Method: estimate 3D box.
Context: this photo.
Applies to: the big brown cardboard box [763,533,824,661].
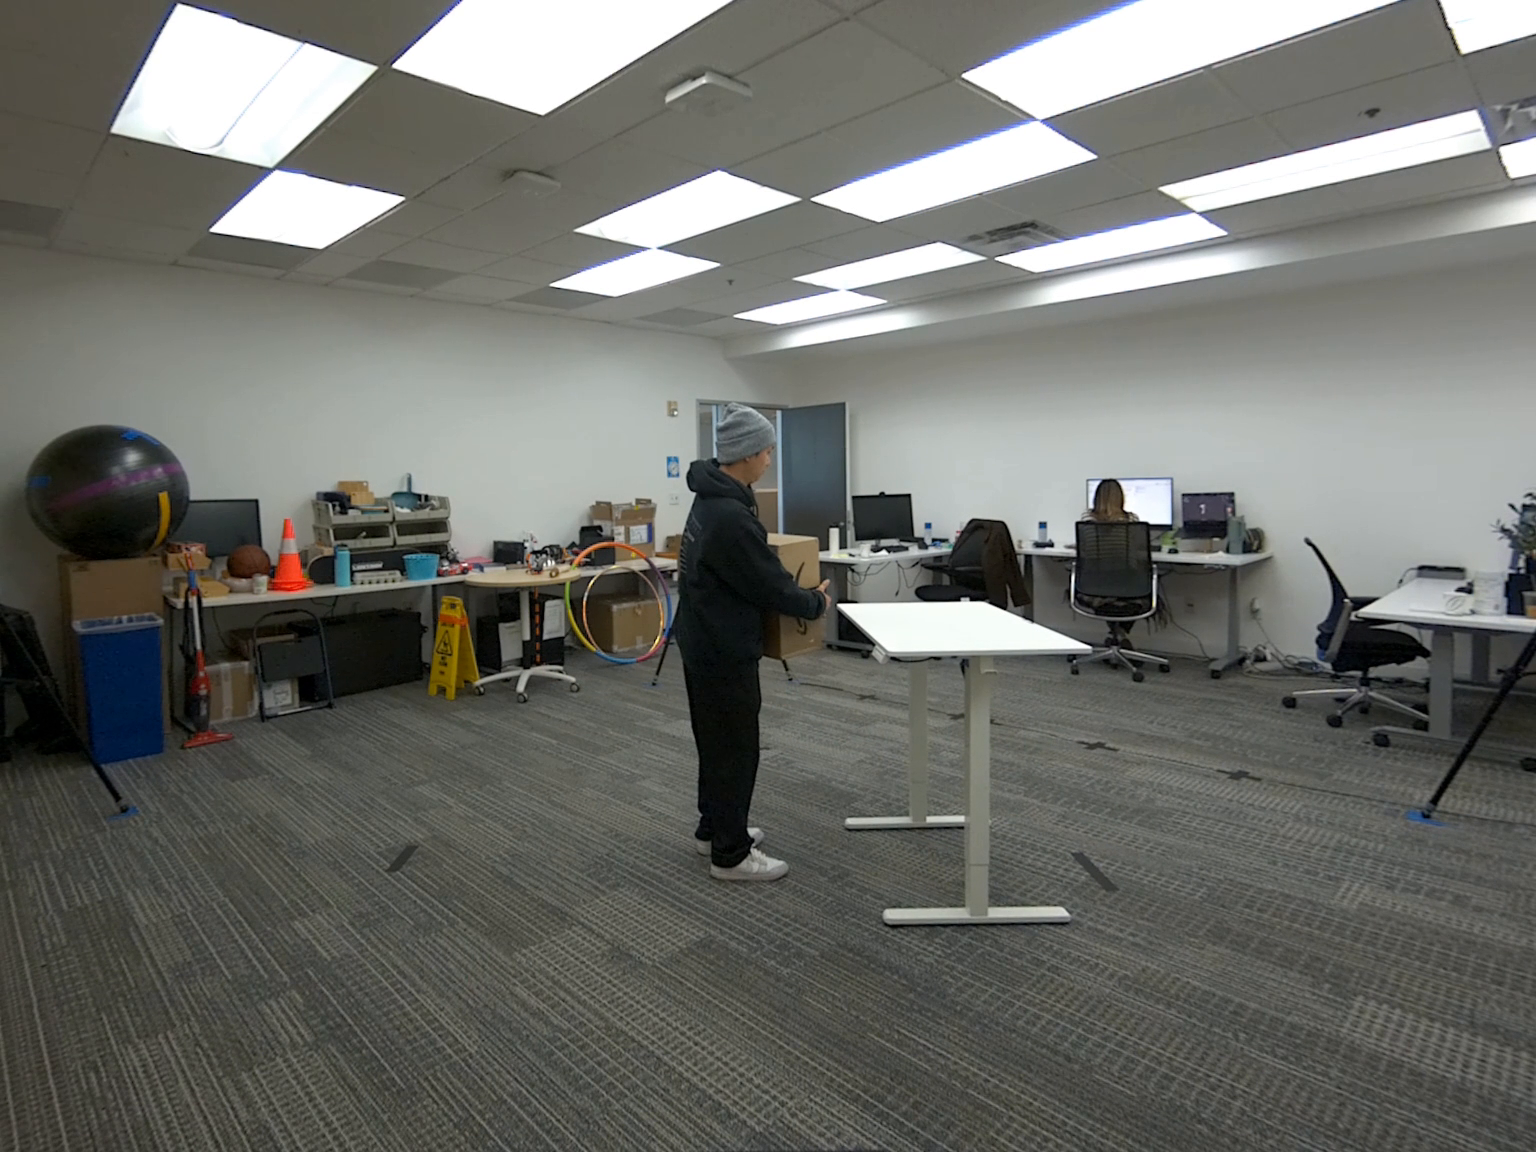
[{"bbox_3d":[-0.075,0.052,3.262,0.608,0.414,0.227,7,12,44],"label":"big brown cardboard box"}]
